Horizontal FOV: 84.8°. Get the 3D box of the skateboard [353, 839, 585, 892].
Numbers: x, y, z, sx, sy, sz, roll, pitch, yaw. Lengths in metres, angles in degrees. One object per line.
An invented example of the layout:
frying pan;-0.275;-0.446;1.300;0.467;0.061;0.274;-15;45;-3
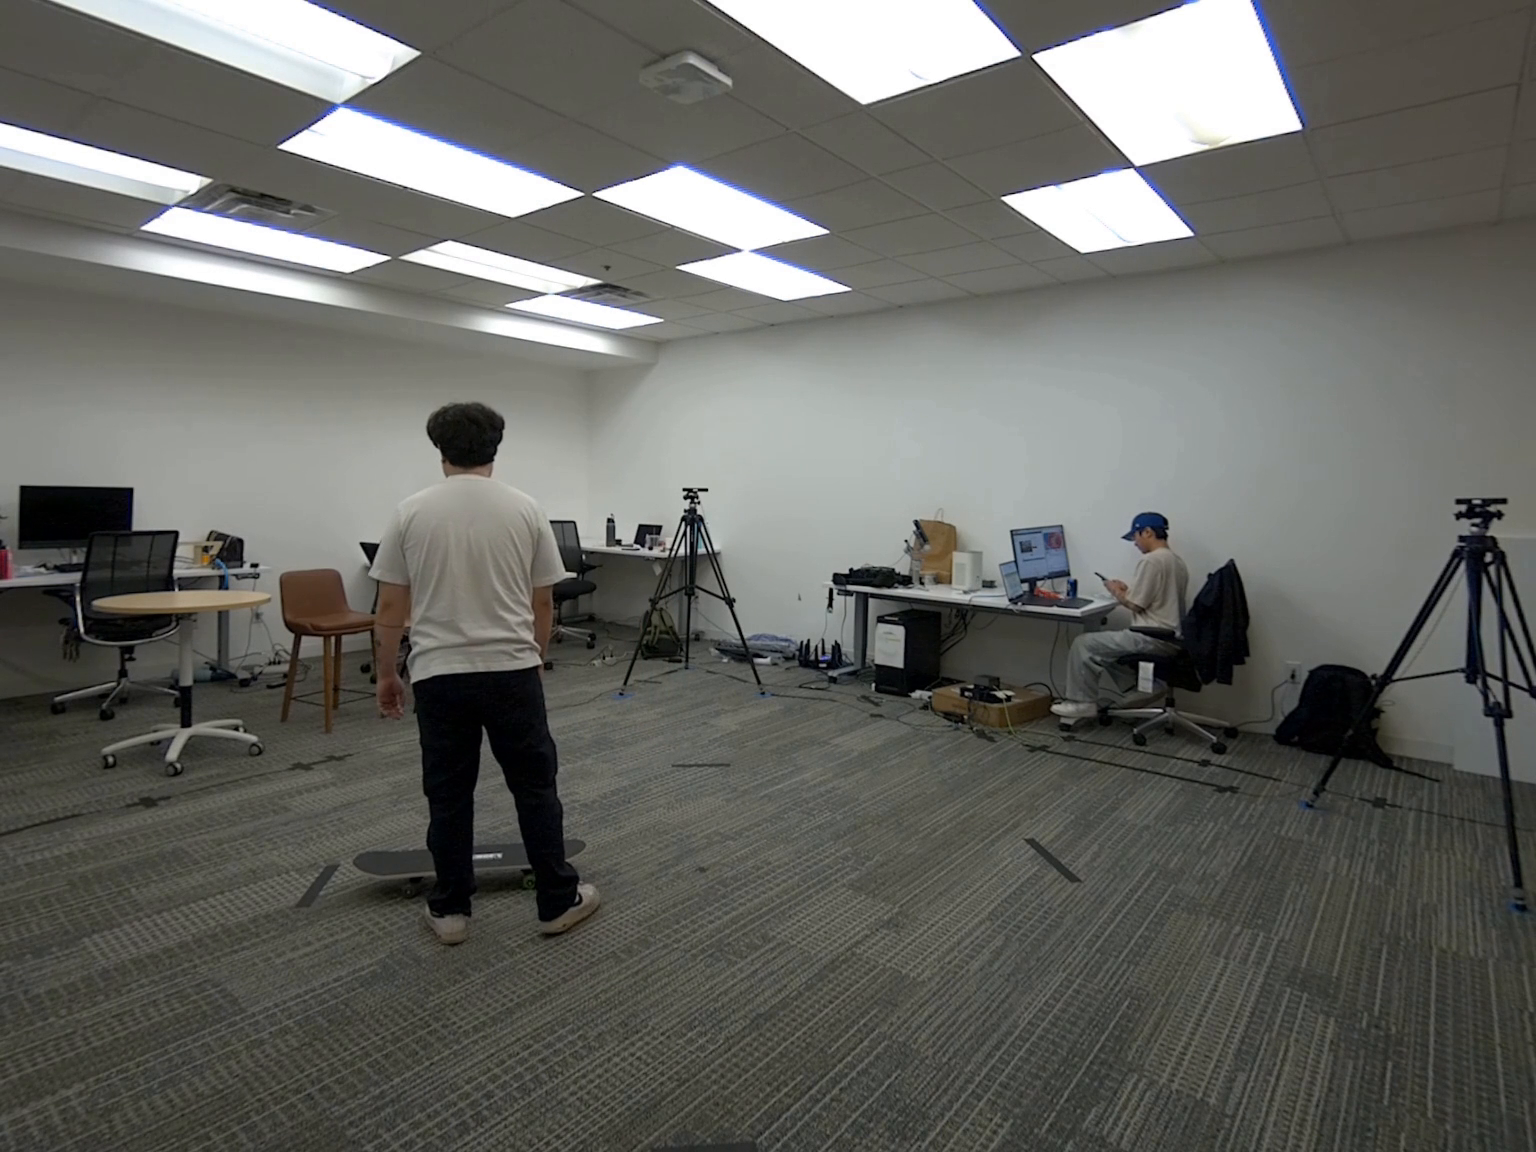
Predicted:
skateboard;-1.038;1.011;2.972;0.776;0.110;0.196;0;5;-11
